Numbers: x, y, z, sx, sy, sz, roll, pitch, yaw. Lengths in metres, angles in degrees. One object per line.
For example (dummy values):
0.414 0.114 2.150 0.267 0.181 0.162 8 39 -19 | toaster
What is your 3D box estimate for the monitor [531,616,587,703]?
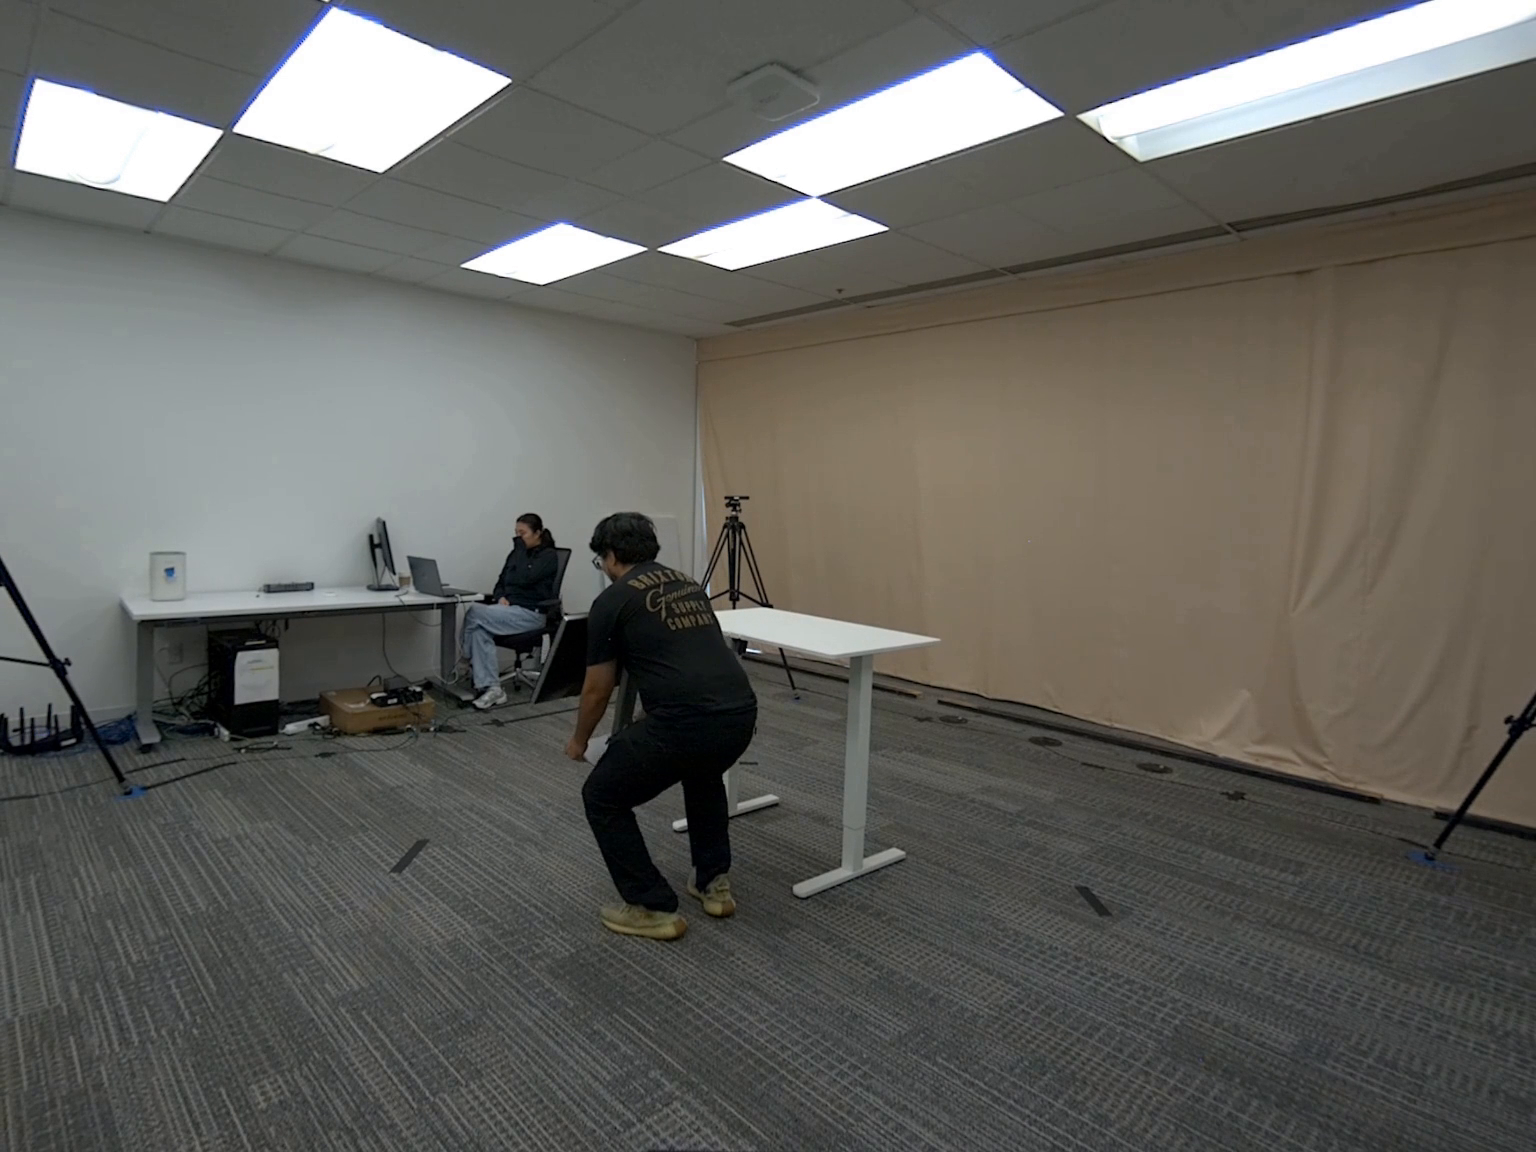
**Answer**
-0.518 0.372 2.927 0.216 0.549 0.553 34 25 35 | monitor
